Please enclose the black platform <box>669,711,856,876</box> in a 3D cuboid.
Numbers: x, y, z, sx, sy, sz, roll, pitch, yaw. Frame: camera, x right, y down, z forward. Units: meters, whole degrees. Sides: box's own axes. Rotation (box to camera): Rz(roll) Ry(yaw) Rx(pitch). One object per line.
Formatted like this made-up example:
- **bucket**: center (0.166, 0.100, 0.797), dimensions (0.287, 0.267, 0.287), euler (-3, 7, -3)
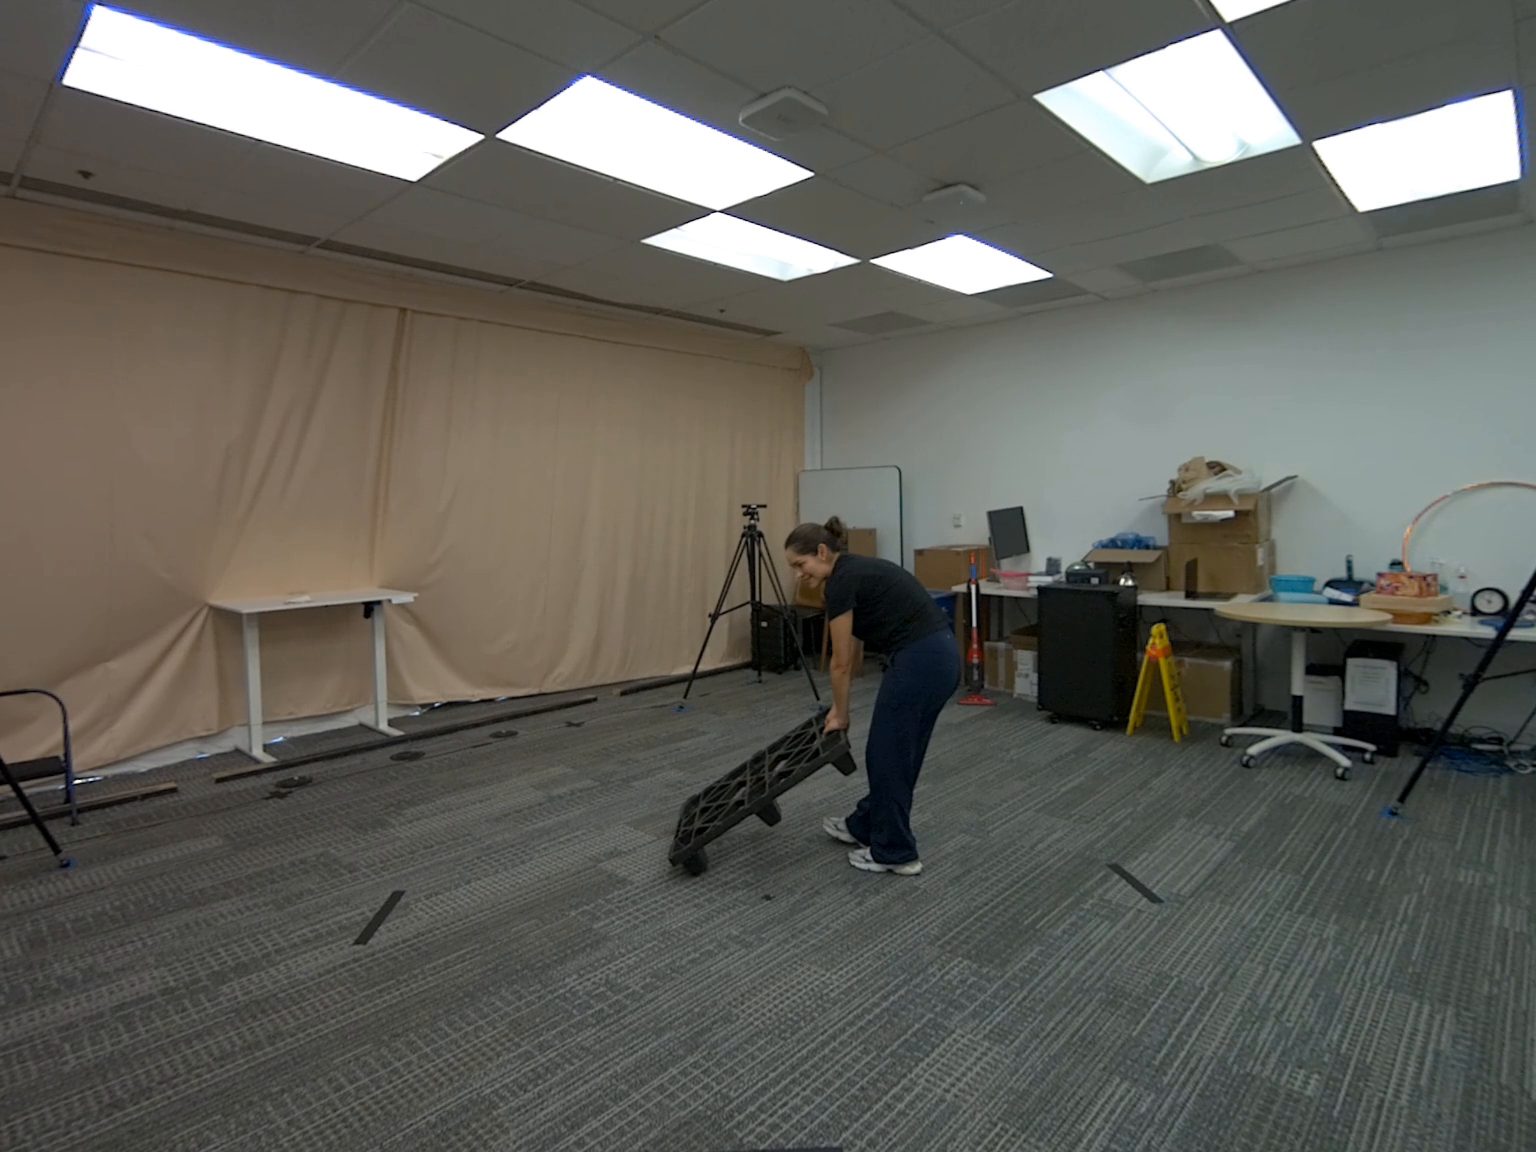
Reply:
- **black platform**: center (0.010, 0.844, 3.367), dimensions (0.807, 0.143, 0.606), euler (-35, 5, 3)
